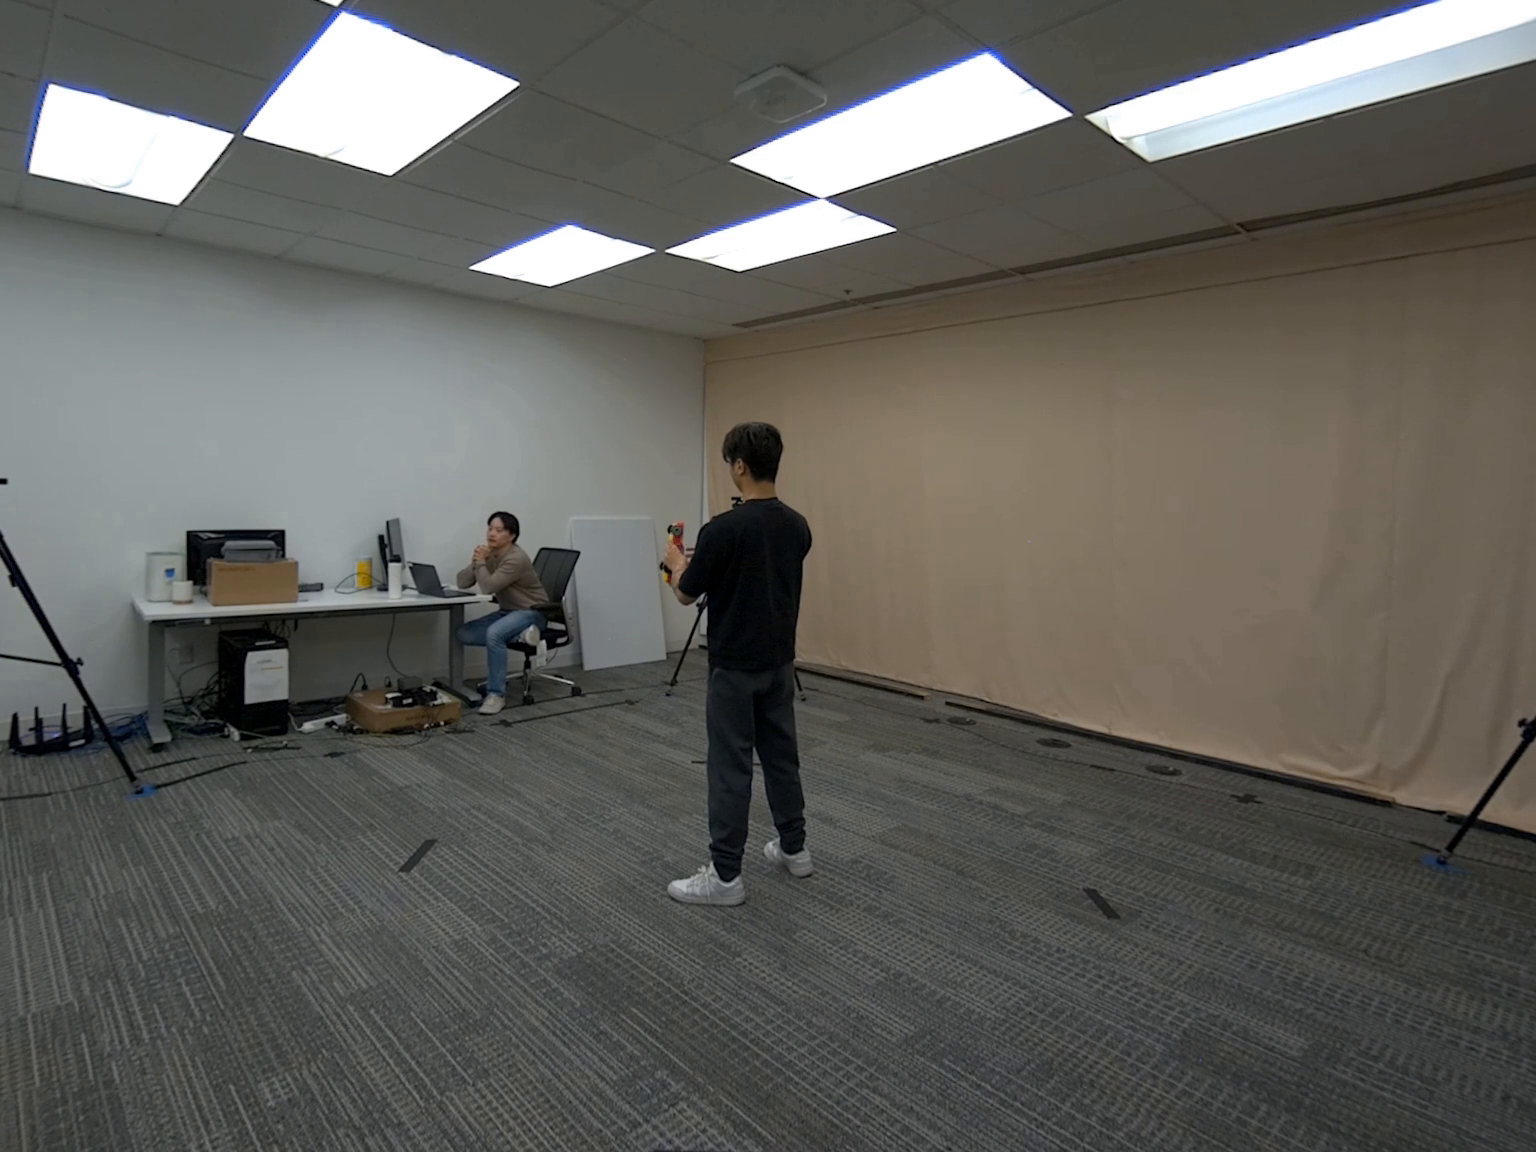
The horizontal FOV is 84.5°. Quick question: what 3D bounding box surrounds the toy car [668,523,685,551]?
[{"bbox_3d":[-0.374,-0.083,3.268,0.082,0.254,0.132,0,1,-15],"label":"toy car"}]
